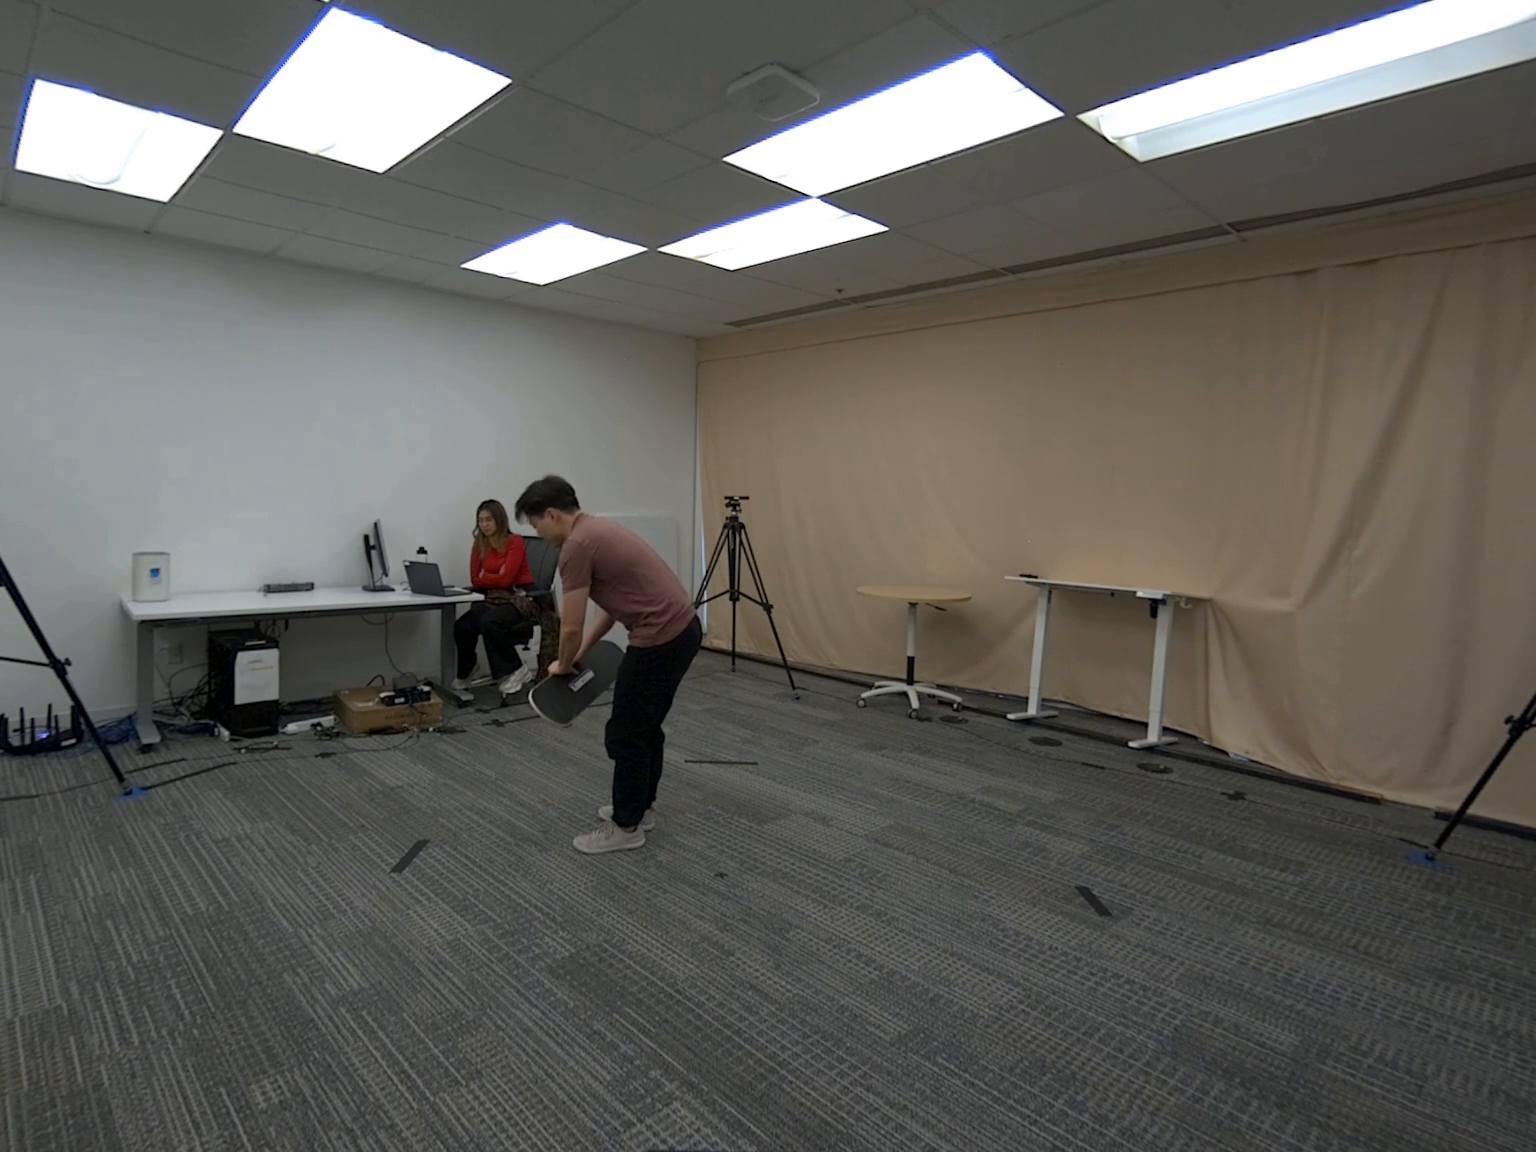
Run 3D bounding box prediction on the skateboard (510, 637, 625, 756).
[{"bbox_3d":[-0.774,0.456,3.445,0.193,0.110,0.786,40,16,-2],"label":"skateboard"}]
